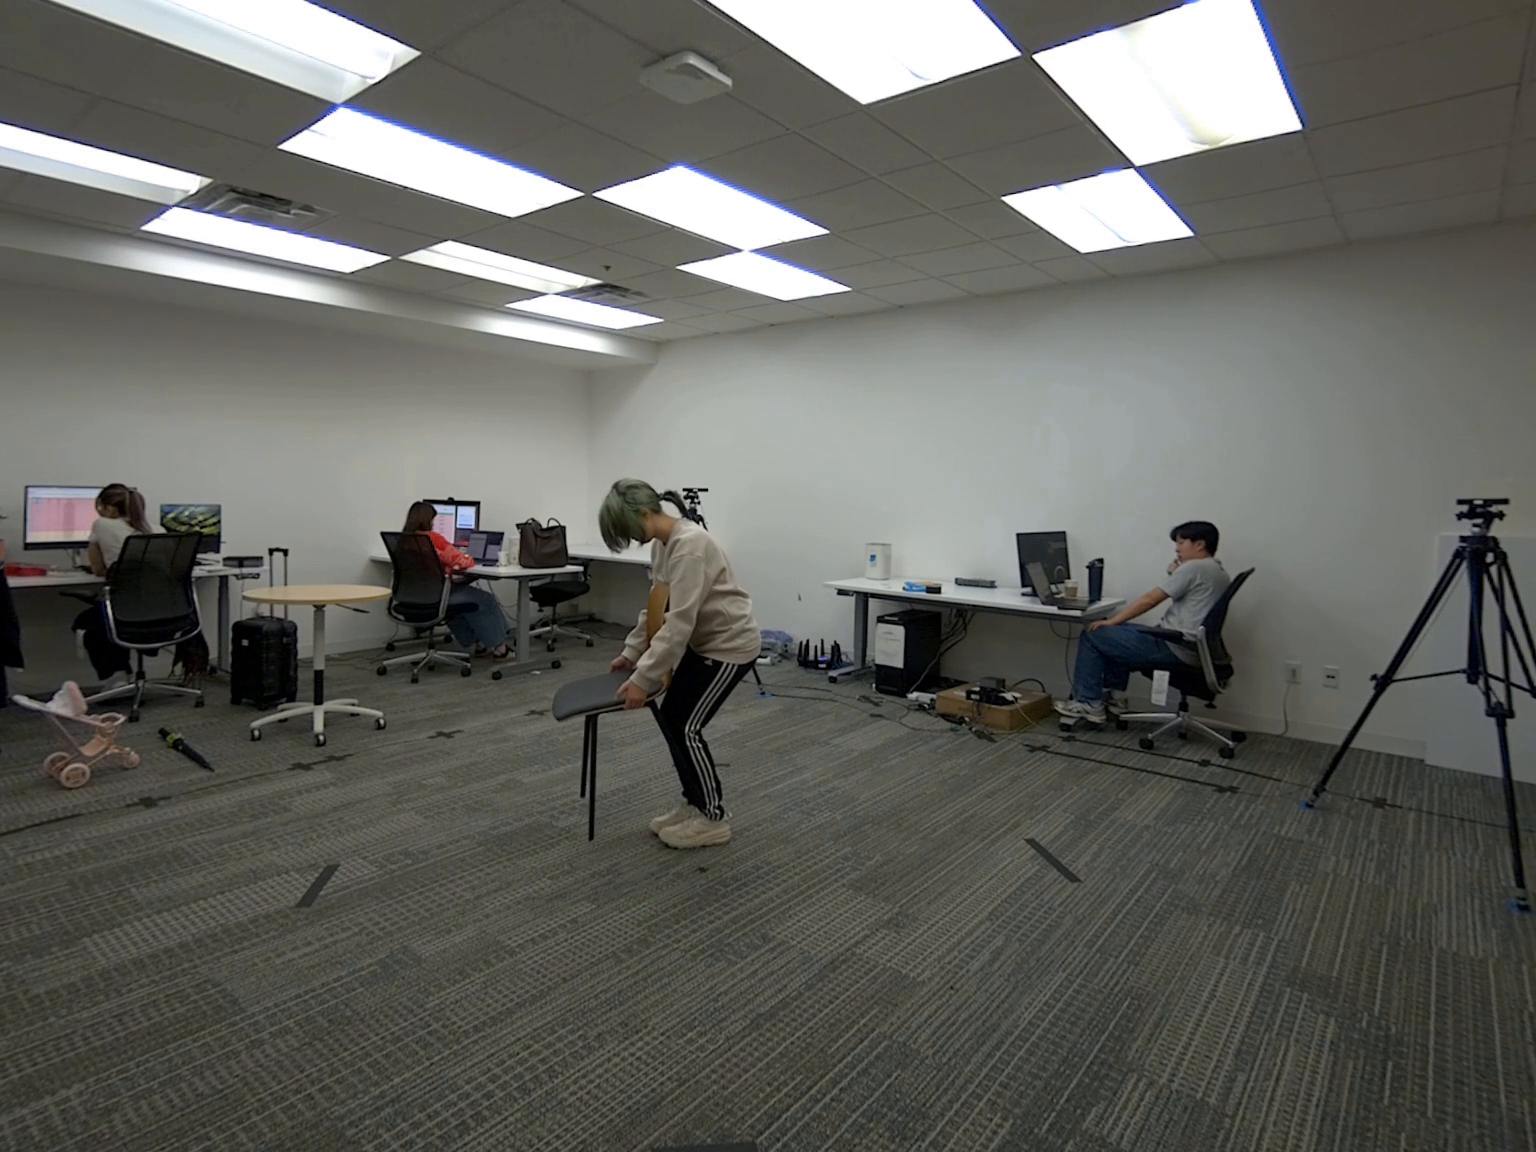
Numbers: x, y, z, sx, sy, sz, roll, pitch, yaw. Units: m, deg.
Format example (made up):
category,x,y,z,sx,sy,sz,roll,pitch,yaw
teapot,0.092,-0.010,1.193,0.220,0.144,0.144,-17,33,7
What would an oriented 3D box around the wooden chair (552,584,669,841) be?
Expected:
category,x,y,z,sx,sy,sz,roll,pitch,yaw
wooden chair,-0.606,0.495,3.330,0.516,0.872,0.488,-7,6,-16
